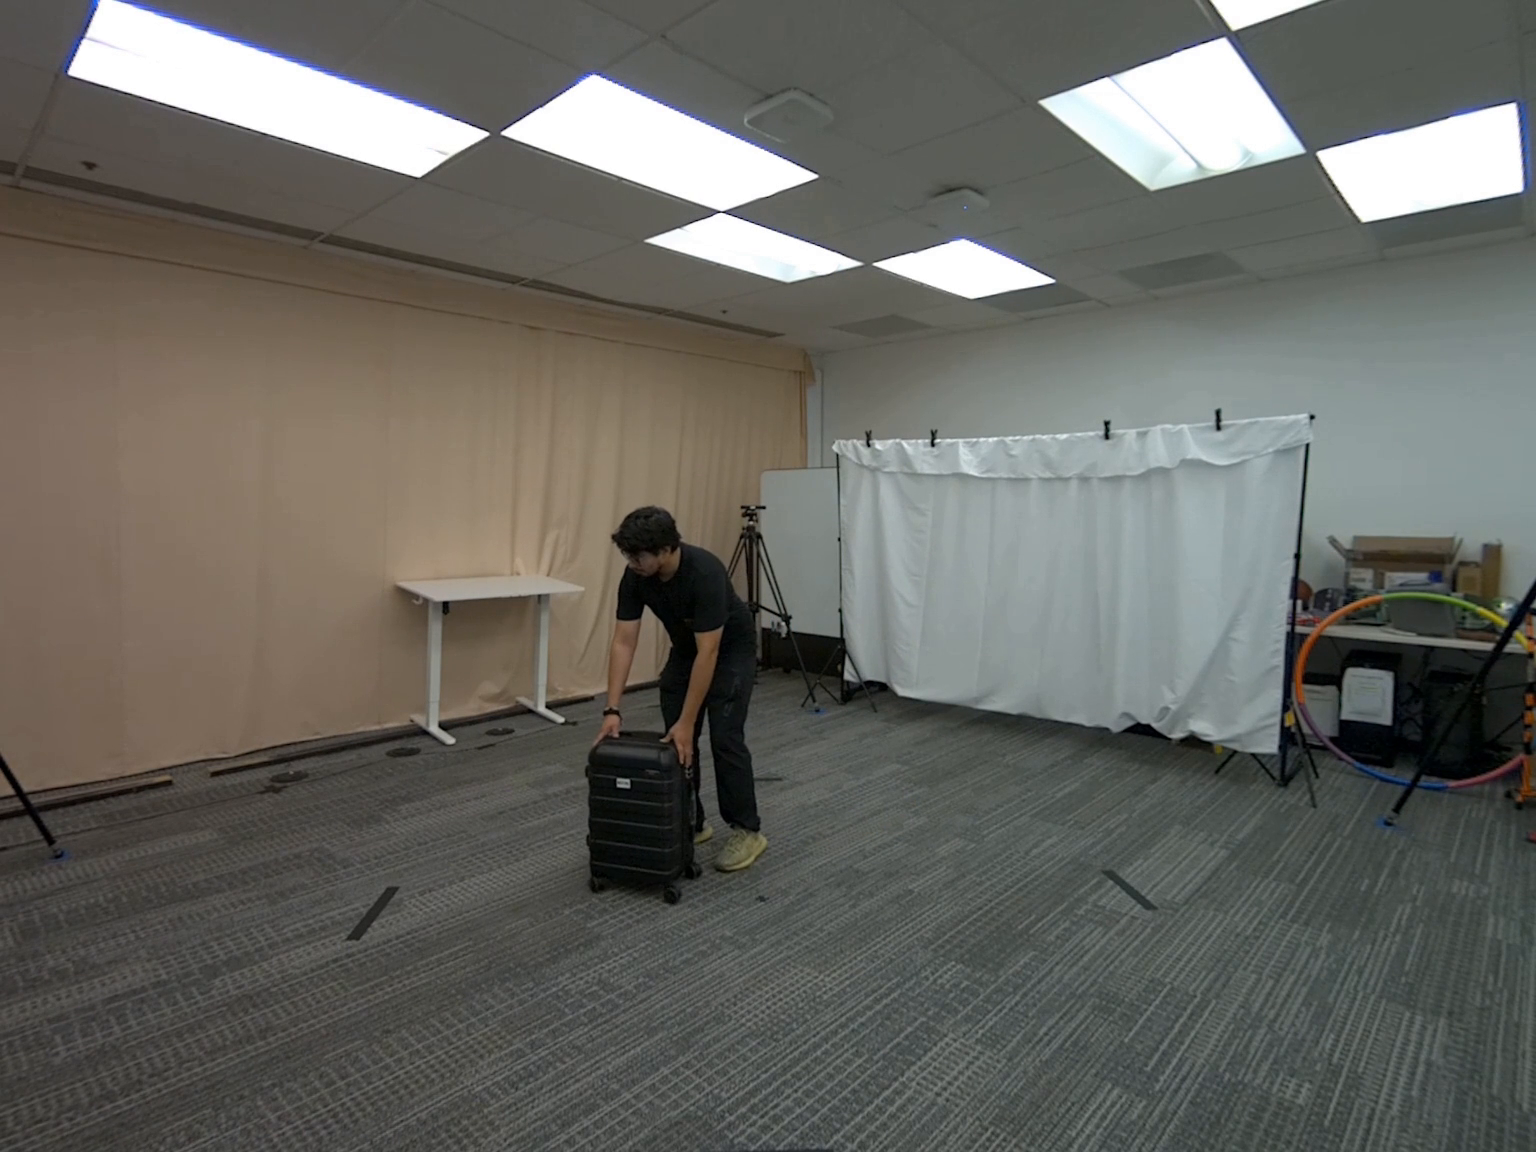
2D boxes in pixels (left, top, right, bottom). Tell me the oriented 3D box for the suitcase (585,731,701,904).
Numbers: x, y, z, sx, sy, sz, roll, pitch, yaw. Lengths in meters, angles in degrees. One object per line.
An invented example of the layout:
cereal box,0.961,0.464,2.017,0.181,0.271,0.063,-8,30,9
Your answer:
suitcase,-0.465,0.863,3.108,0.383,0.549,0.243,0,2,19
